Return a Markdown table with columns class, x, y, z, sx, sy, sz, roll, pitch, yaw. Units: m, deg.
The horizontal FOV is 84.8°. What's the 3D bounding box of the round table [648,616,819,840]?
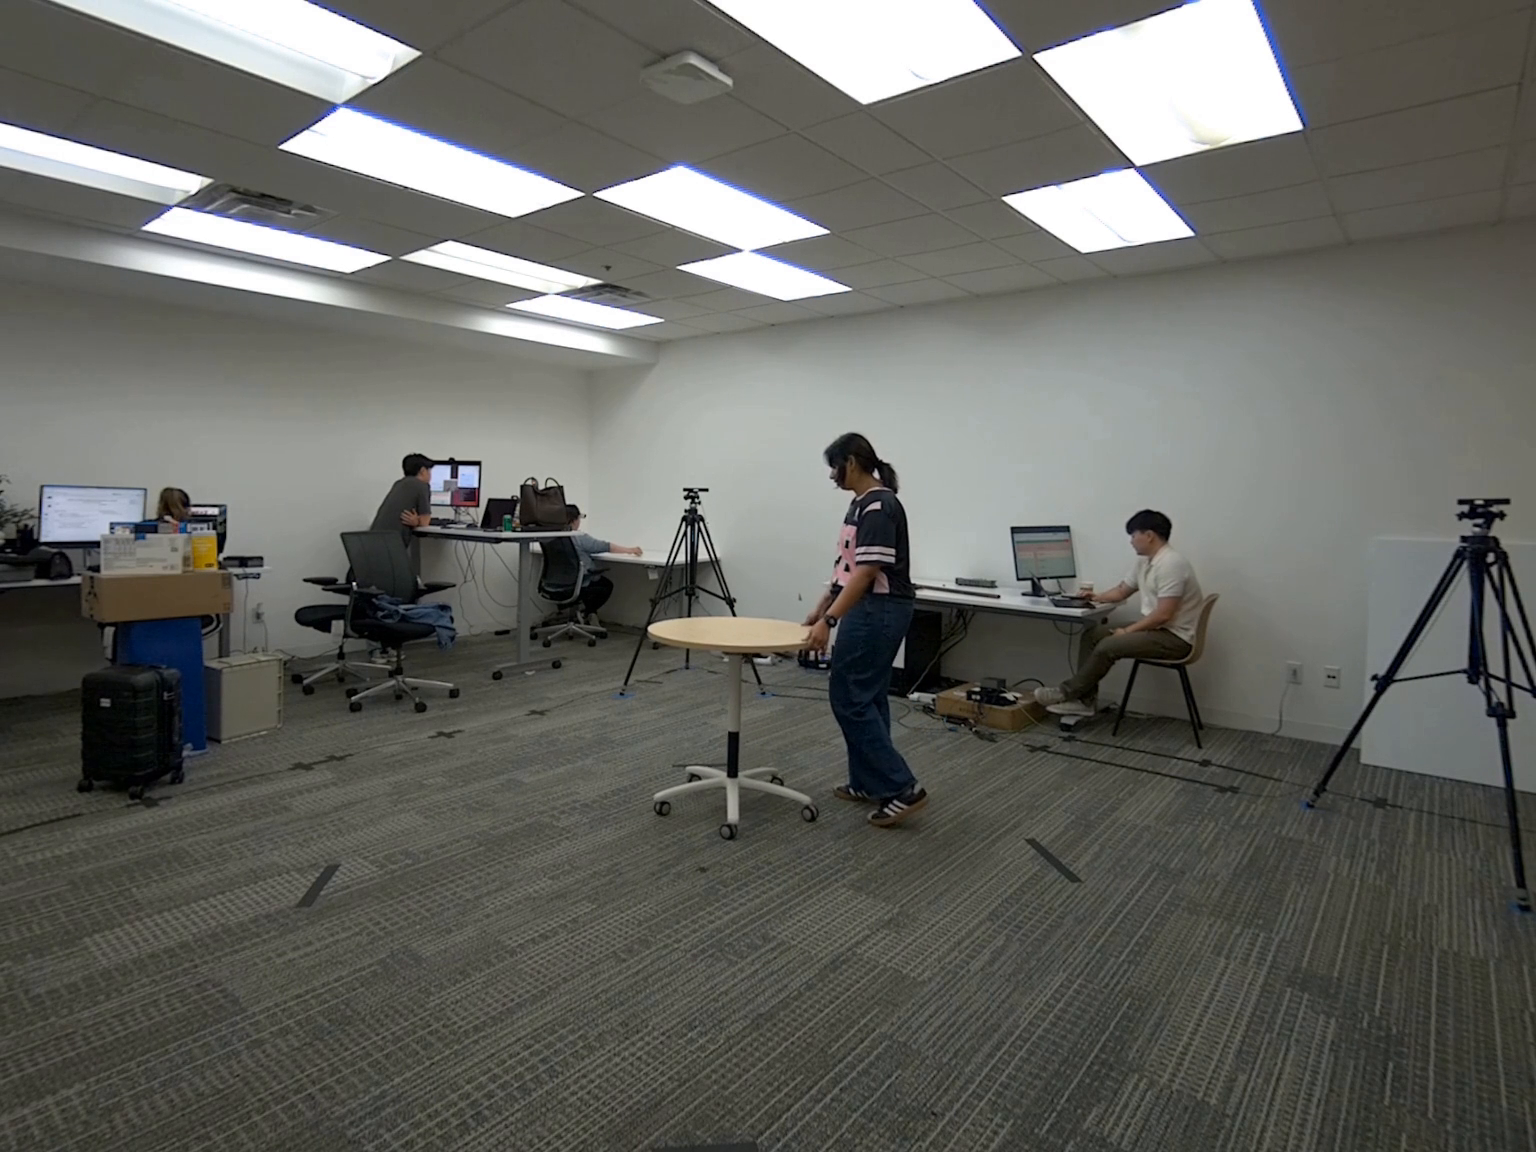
| class | x | y | z | sx | sy | sz | roll | pitch | yaw |
| --- | --- | --- | --- | --- | --- | --- | --- | --- | --- |
| round table | -0.173 | 0.621 | 3.698 | 0.784 | 0.784 | 0.789 | 2 | 4 | -2 |
